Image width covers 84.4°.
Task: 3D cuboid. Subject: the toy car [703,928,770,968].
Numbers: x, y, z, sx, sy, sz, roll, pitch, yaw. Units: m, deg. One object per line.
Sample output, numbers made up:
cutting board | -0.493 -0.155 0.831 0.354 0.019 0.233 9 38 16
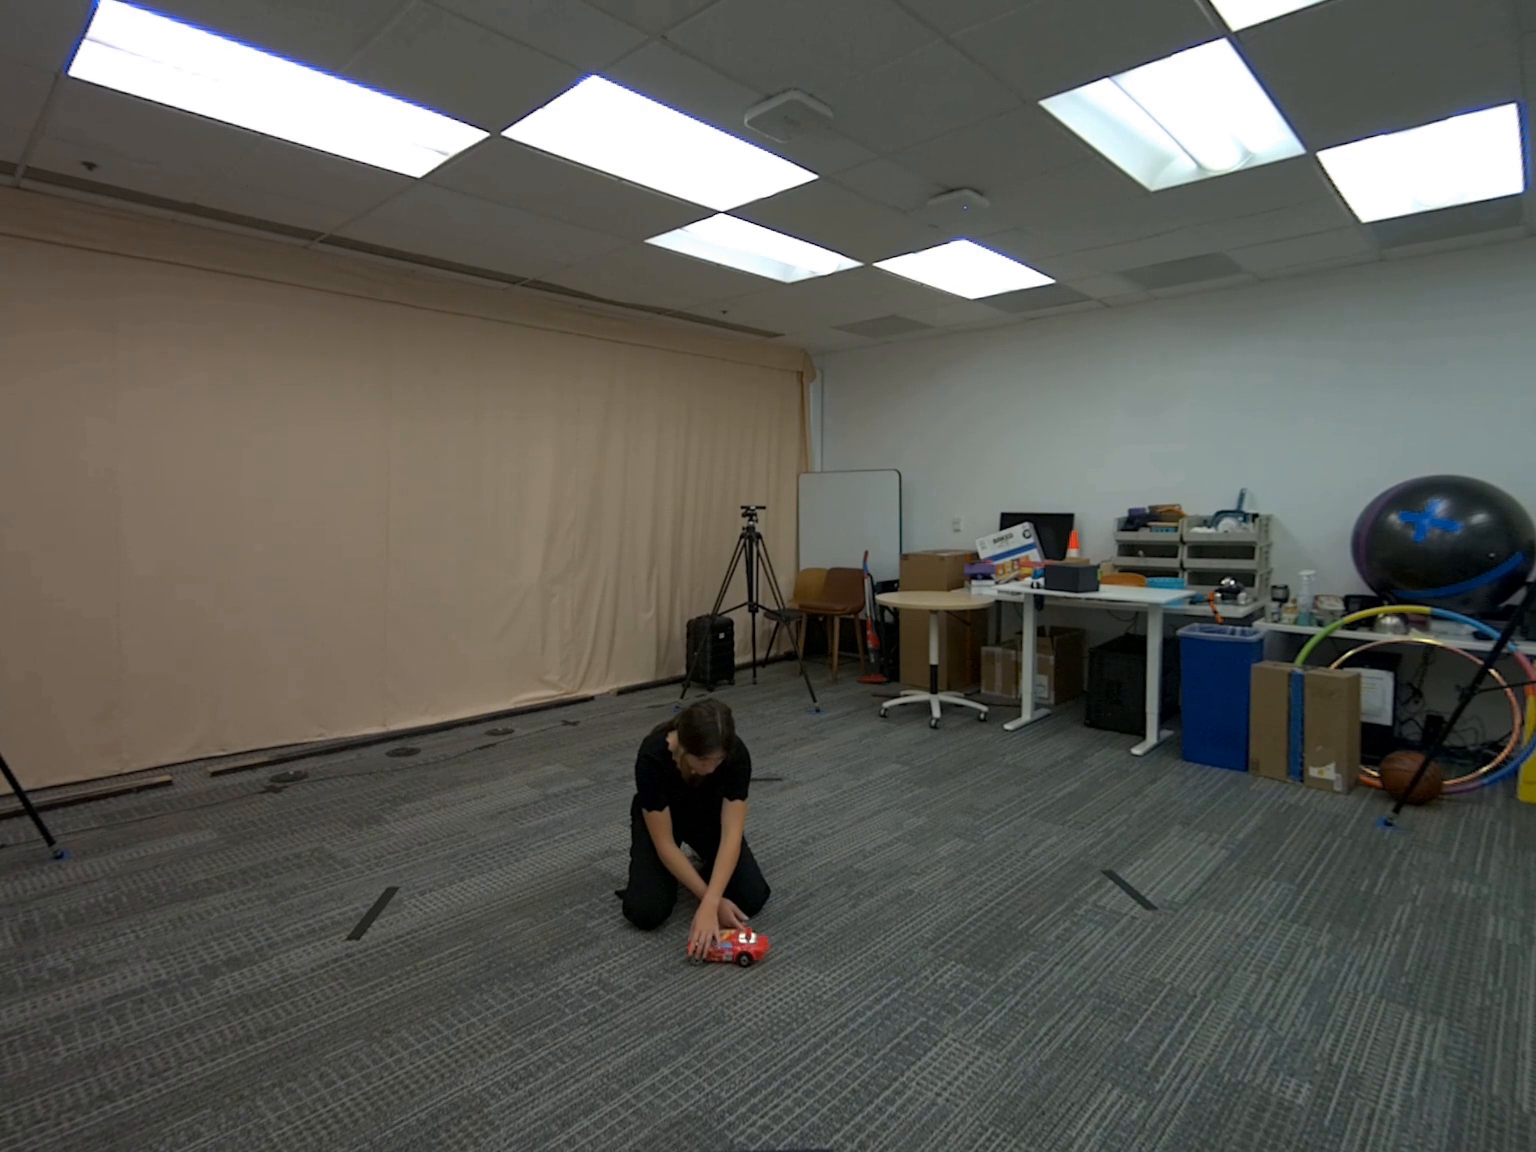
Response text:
toy car | -0.114 1.146 2.590 0.256 0.083 0.130 -11 3 5
